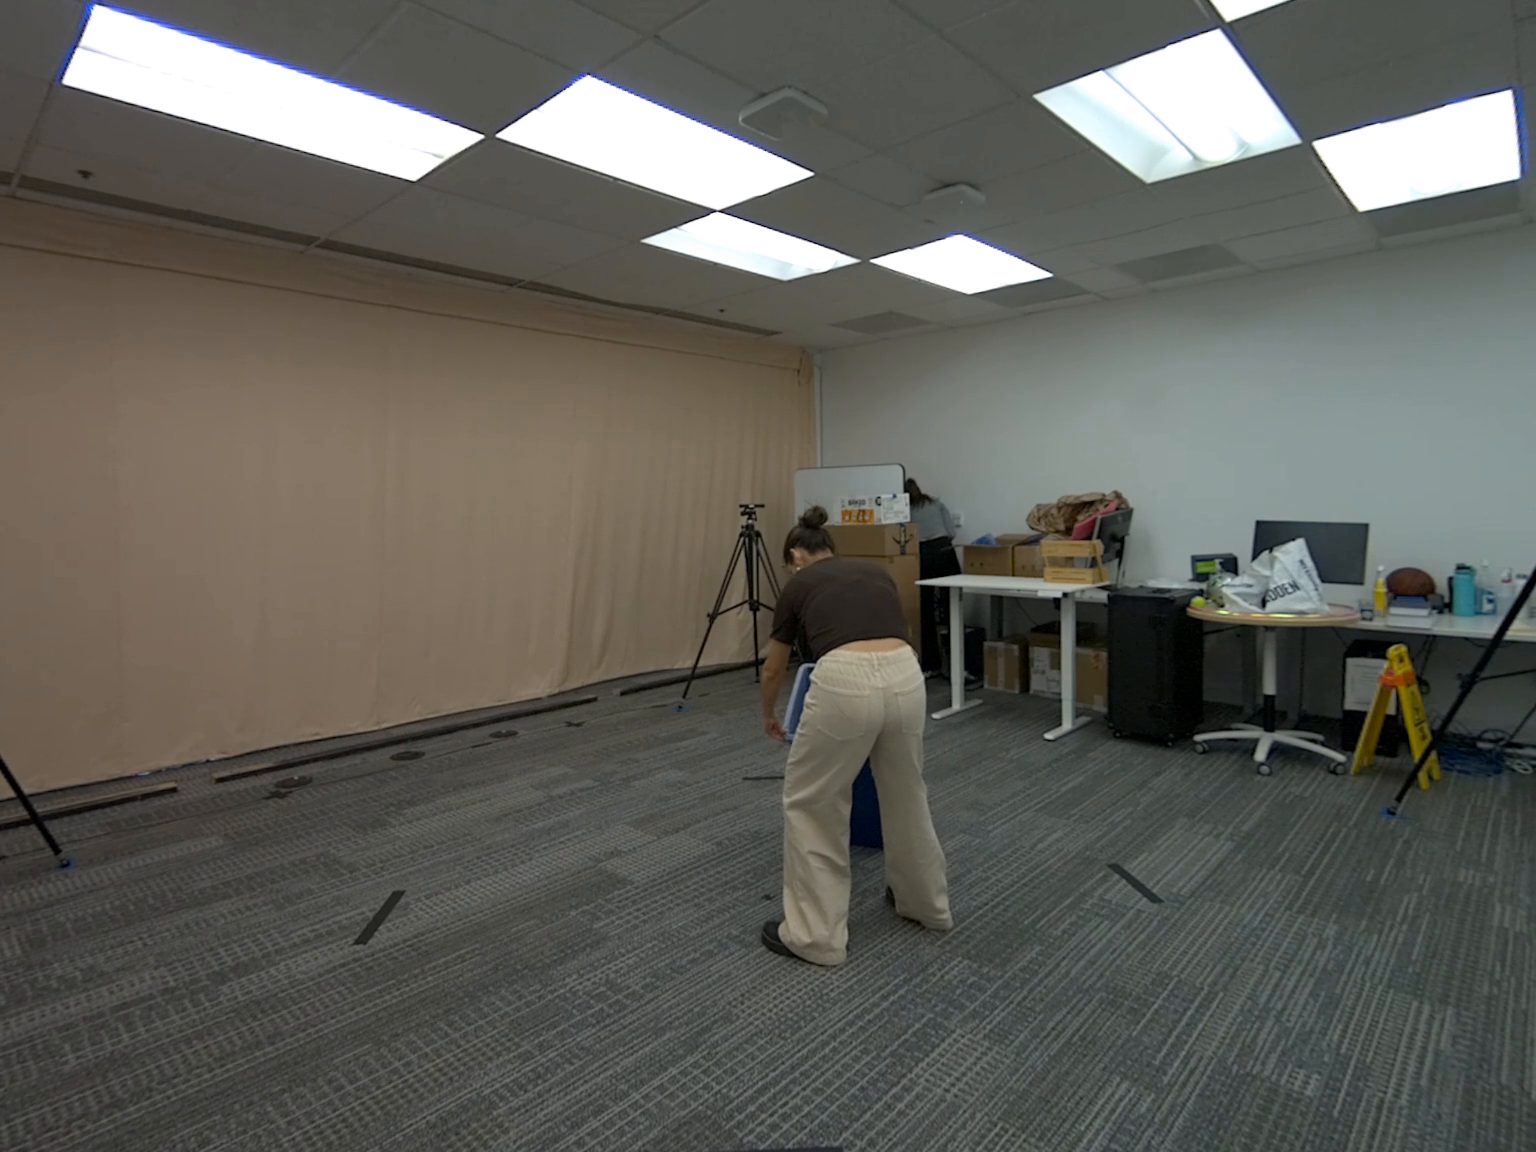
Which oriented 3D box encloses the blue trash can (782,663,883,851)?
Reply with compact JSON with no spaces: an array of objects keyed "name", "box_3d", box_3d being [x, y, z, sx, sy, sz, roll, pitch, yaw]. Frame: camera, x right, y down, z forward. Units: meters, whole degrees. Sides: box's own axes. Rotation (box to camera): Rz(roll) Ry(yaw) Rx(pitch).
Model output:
[{"name":"blue trash can","box_3d":[0.336,0.731,3.306,0.386,0.695,0.376,0,39,20]}]
